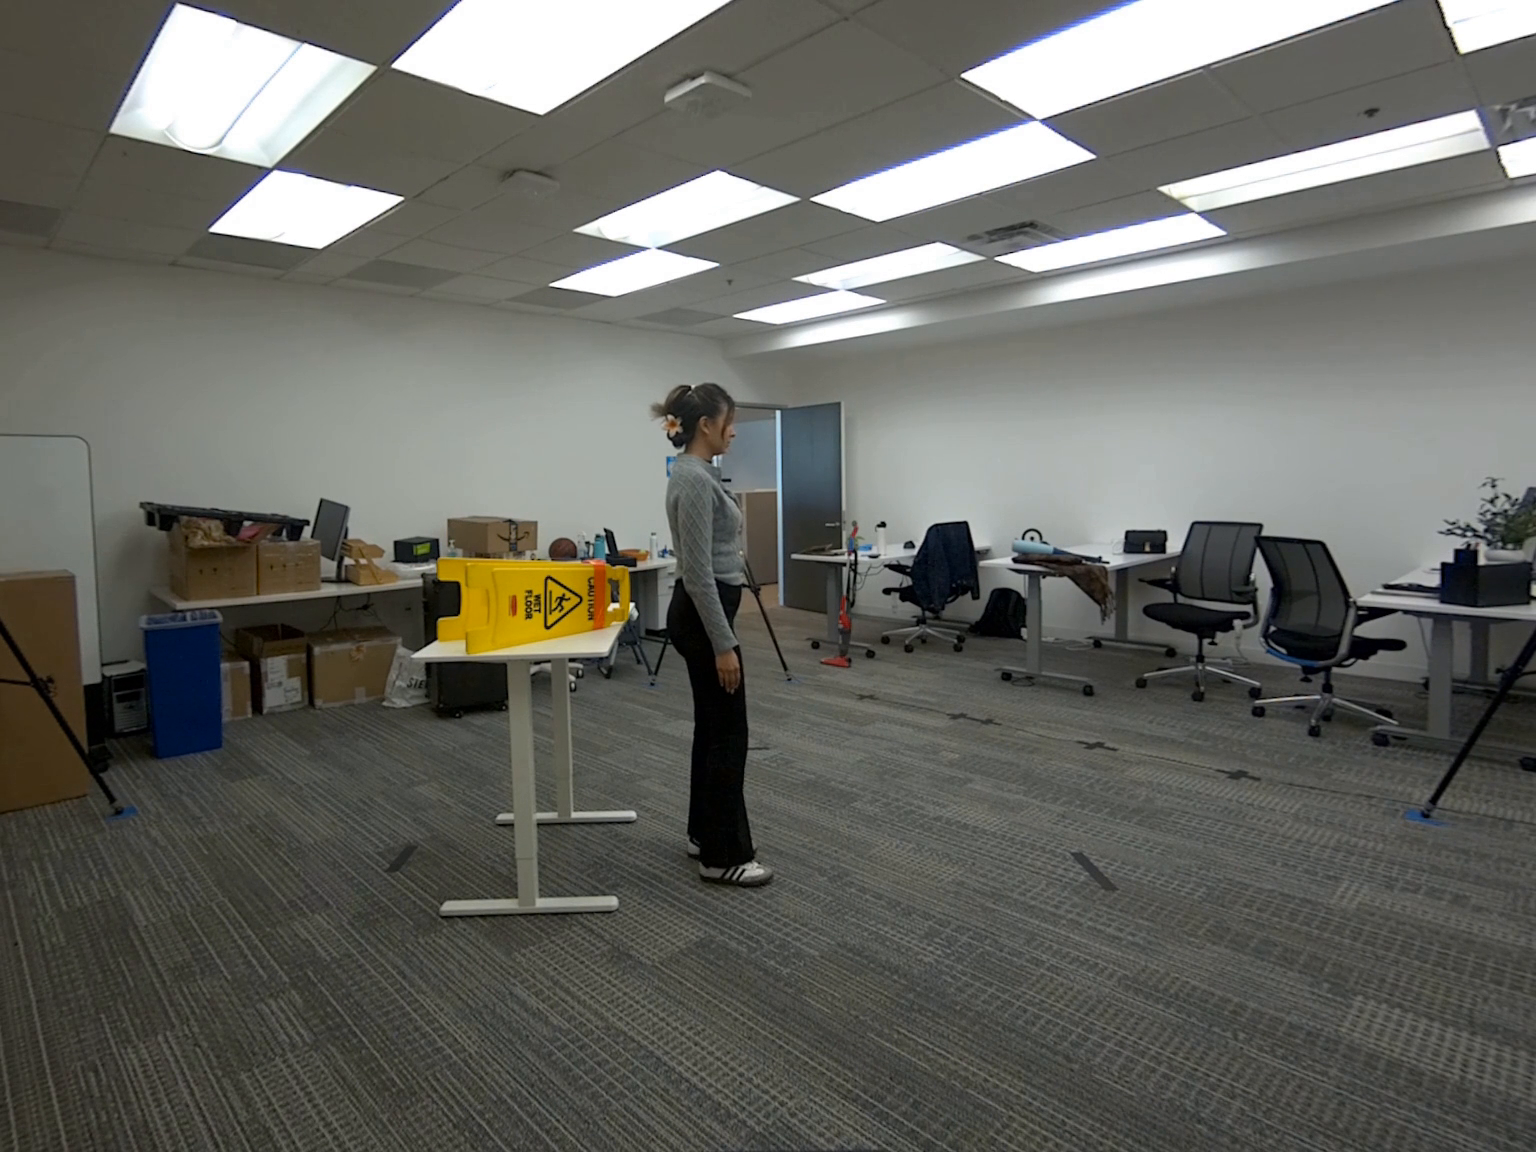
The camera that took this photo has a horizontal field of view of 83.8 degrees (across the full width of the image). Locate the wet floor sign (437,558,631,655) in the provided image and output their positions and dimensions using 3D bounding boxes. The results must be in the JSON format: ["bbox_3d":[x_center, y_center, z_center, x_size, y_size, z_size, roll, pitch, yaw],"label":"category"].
[{"bbox_3d":[-0.754,0.080,2.904,0.629,0.281,0.298,-3,5,-36],"label":"wet floor sign"}]
